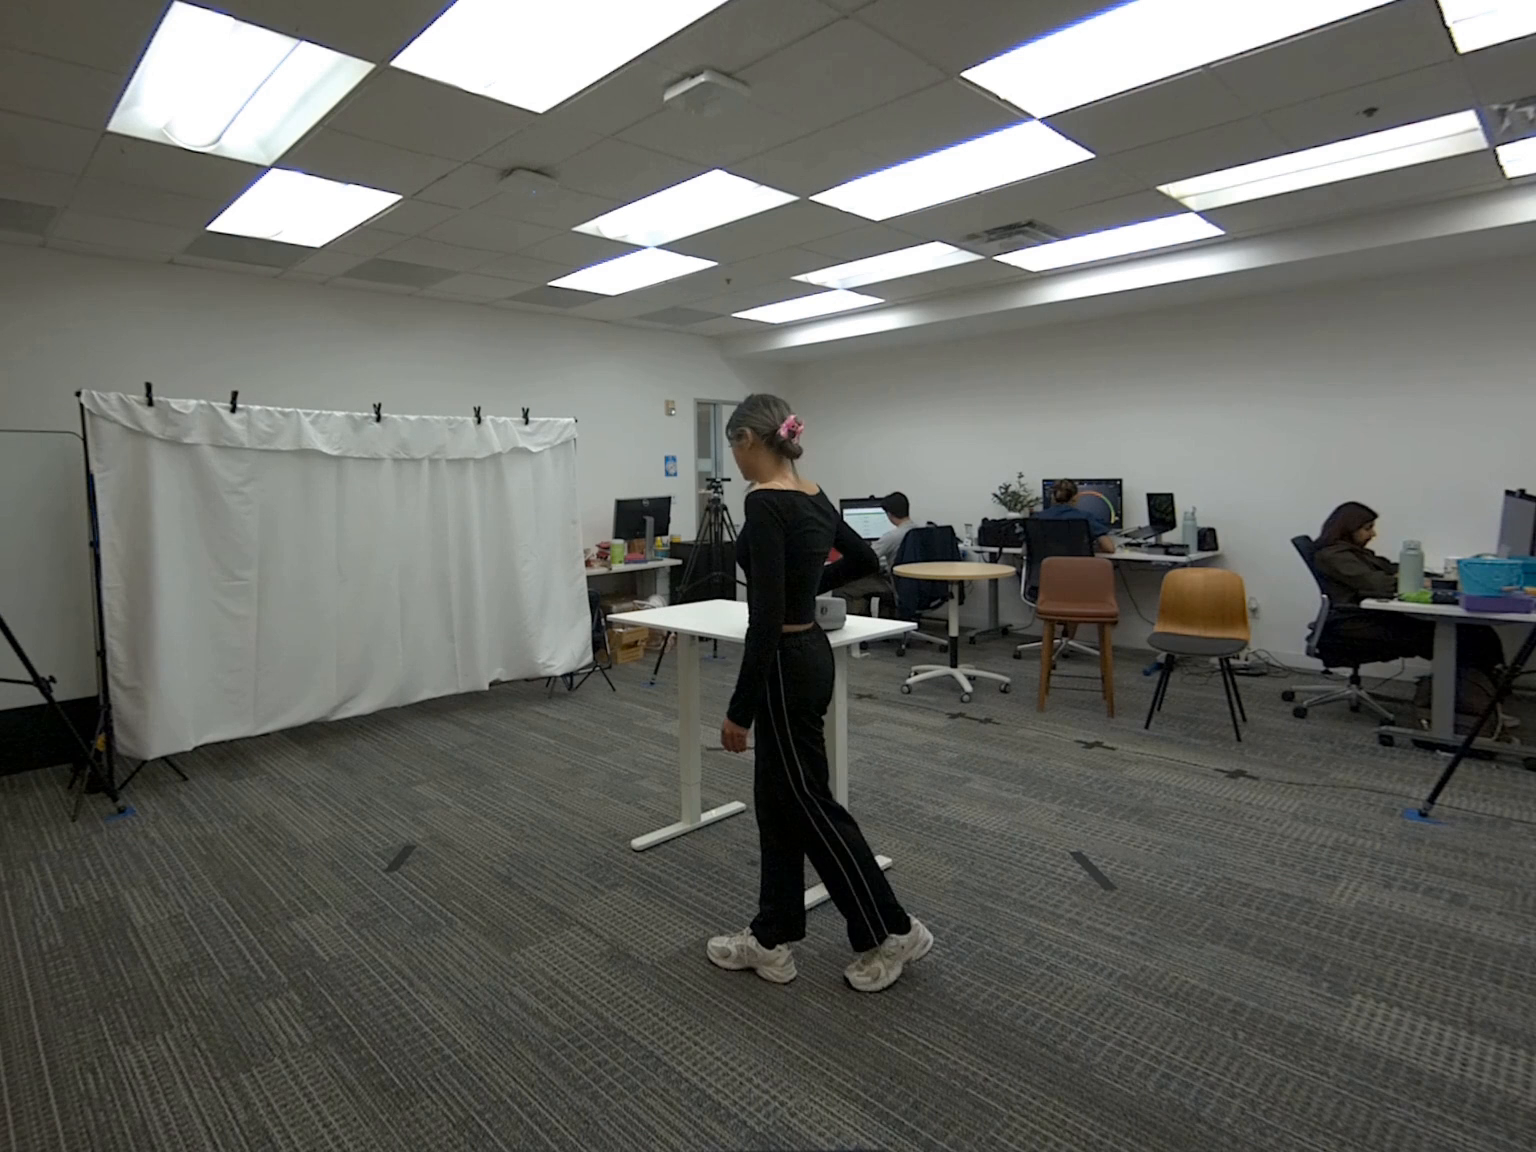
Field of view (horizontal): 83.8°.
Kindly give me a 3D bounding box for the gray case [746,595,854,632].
[{"bbox_3d":[0.108,0.118,2.855,0.264,0.104,0.253,3,0,31],"label":"gray case"}]
